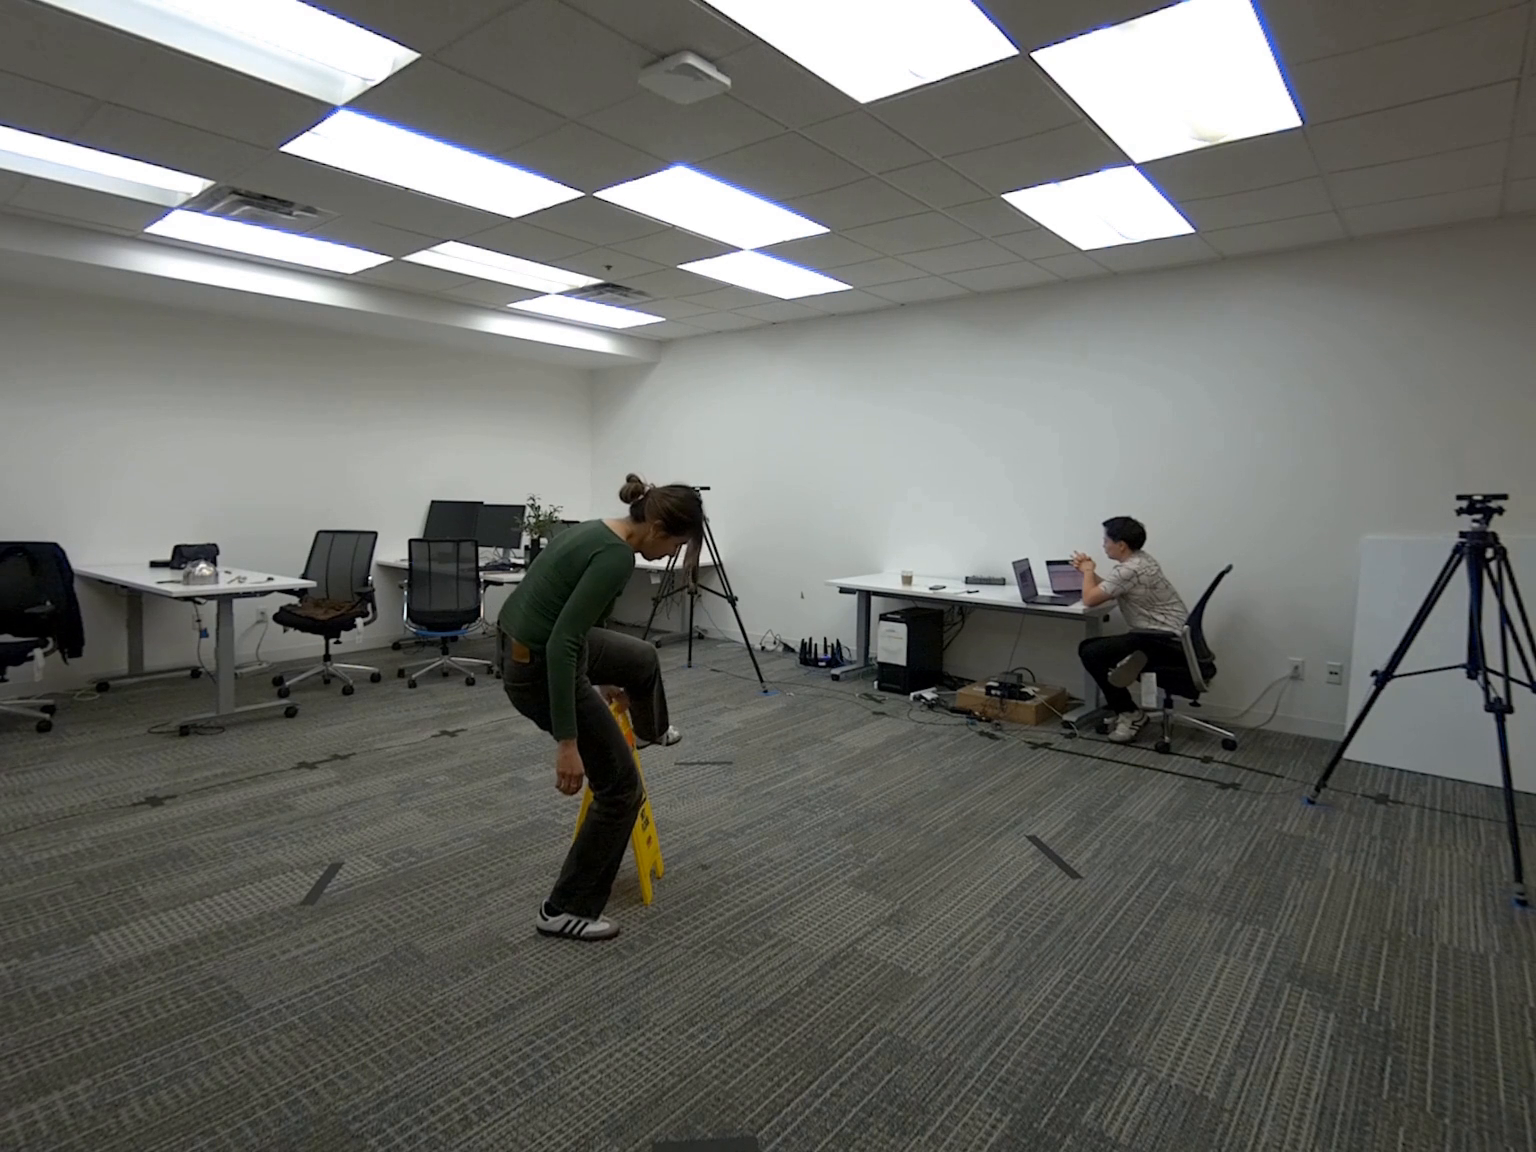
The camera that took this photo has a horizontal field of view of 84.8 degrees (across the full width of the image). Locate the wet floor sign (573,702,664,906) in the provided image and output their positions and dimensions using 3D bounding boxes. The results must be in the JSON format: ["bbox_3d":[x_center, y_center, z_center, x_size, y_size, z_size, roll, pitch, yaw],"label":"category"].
[{"bbox_3d":[-0.540,0.760,2.952,0.292,0.643,0.282,1,5,5],"label":"wet floor sign"}]
